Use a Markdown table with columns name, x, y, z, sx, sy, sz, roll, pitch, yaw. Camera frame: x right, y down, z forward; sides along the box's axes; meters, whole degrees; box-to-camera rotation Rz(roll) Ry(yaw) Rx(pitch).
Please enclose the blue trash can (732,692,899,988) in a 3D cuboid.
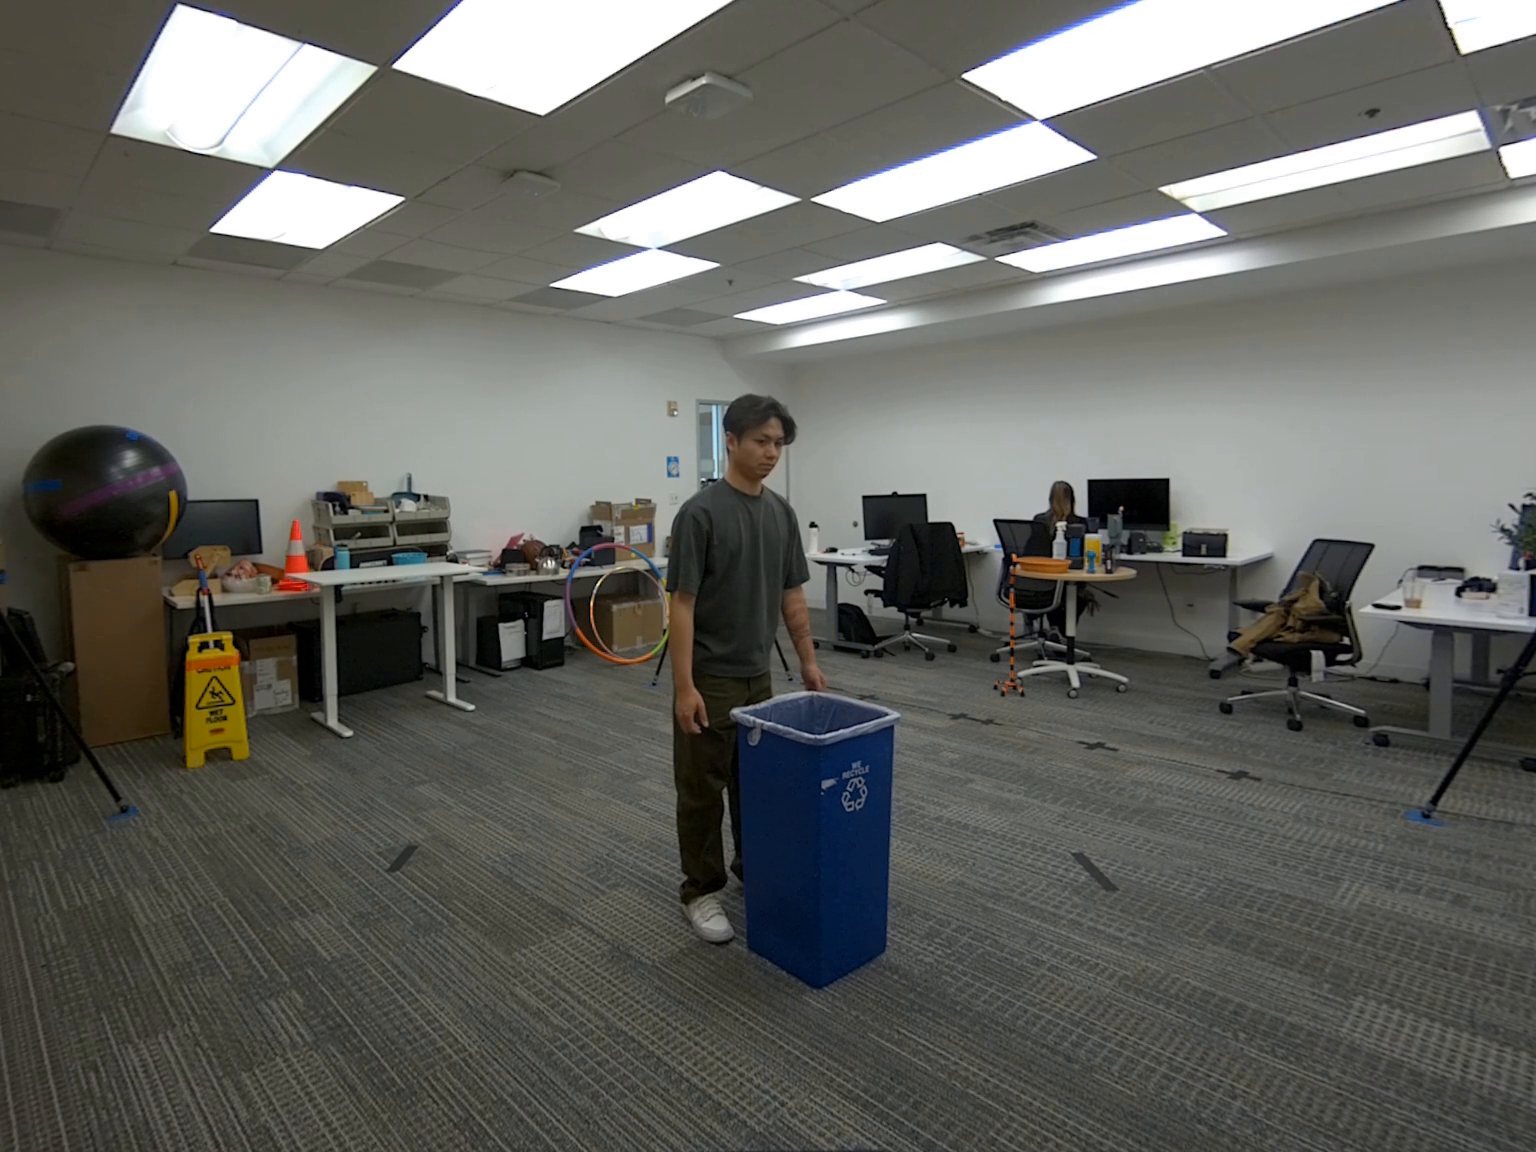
| name | x | y | z | sx | sy | sz | roll | pitch | yaw |
| --- | --- | --- | --- | --- | --- | --- | --- | --- | --- |
| blue trash can | 0.144 | 0.748 | 2.522 | 0.364 | 0.711 | 0.390 | -5 | 6 | -42 |
